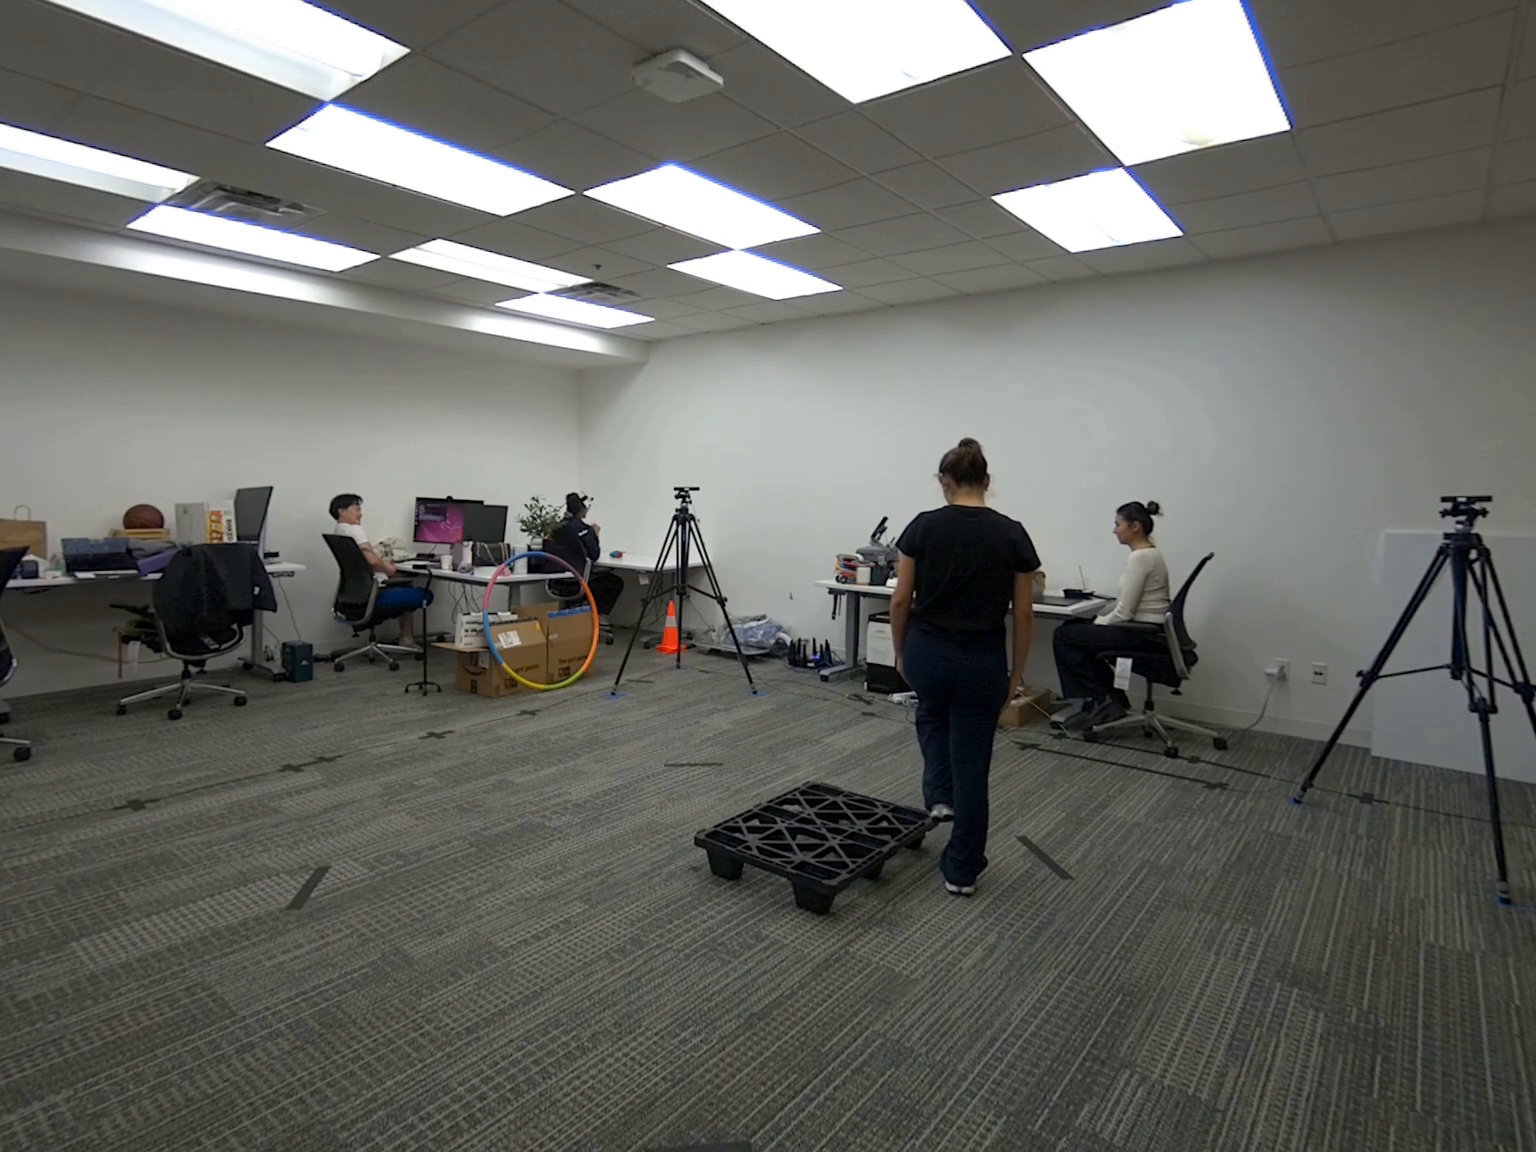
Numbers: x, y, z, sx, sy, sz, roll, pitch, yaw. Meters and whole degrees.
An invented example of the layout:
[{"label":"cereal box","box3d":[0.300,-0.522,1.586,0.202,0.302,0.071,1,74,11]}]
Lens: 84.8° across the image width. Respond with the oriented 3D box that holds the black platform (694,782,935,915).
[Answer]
[{"label":"black platform","box3d":[0.209,0.997,3.208,0.625,0.143,0.782,4,6,38]}]
